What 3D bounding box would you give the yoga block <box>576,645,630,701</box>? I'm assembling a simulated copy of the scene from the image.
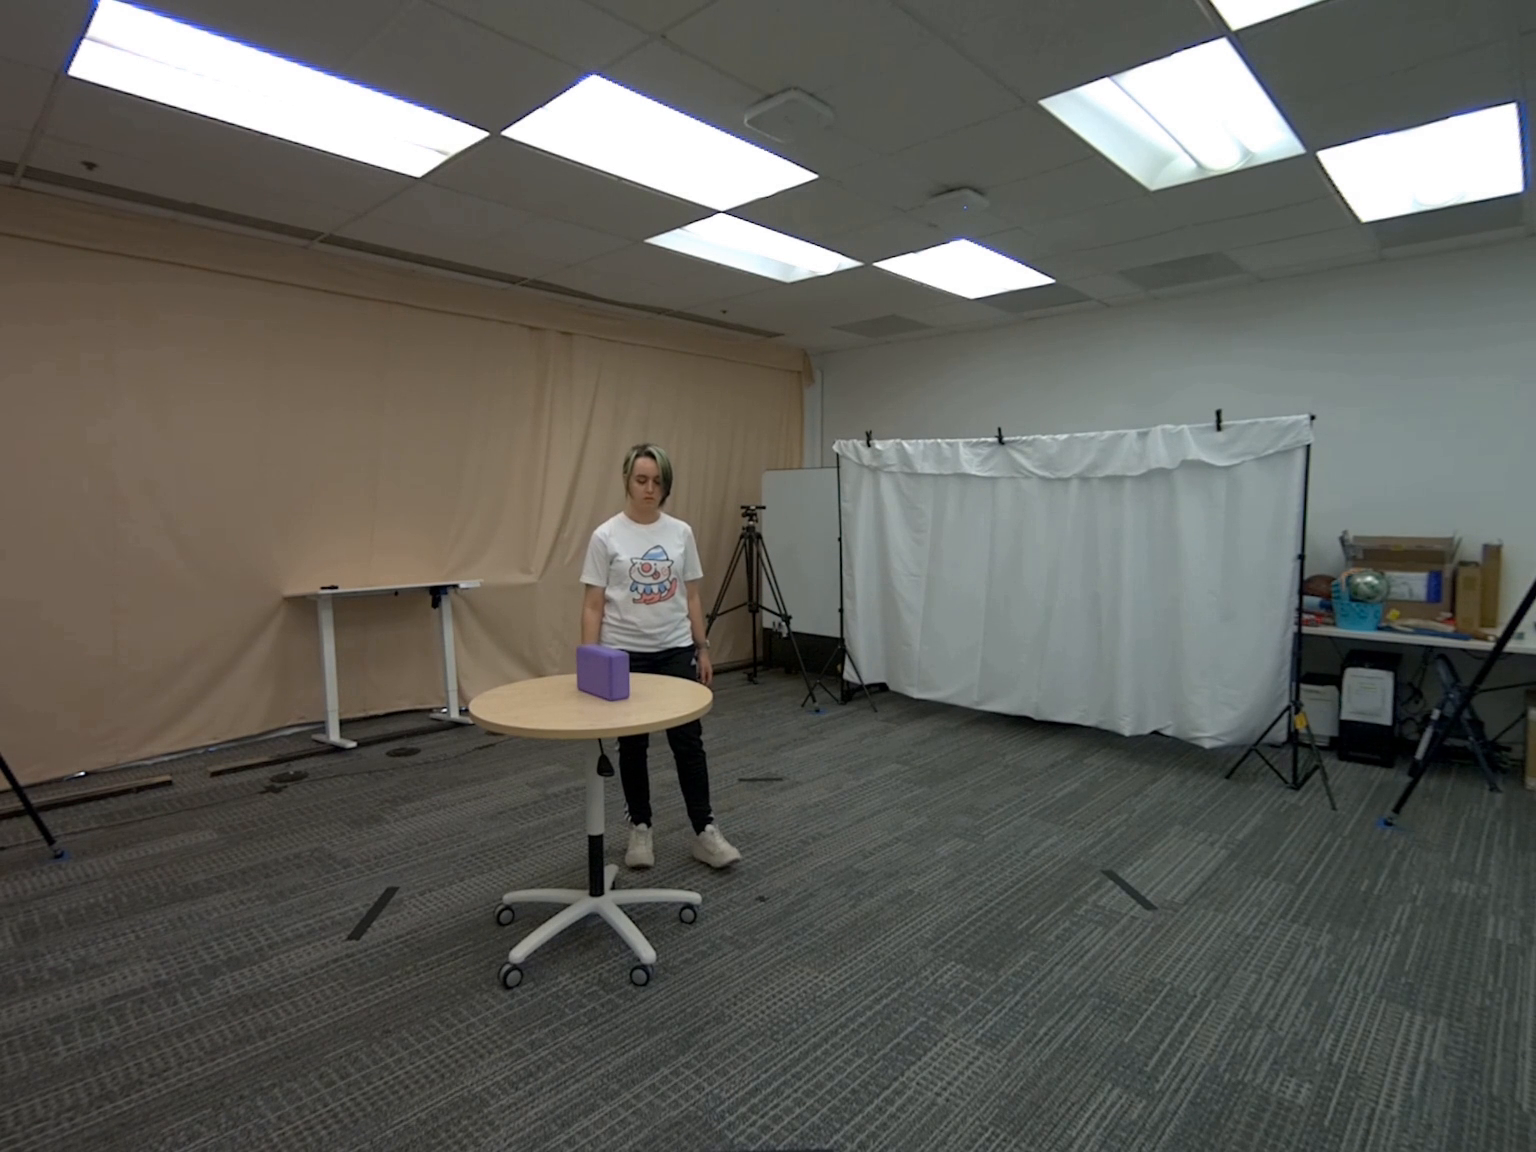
[{"bbox_3d":[-0.543,0.307,2.730,0.074,0.148,0.237,-4,6,-39],"label":"yoga block"}]
